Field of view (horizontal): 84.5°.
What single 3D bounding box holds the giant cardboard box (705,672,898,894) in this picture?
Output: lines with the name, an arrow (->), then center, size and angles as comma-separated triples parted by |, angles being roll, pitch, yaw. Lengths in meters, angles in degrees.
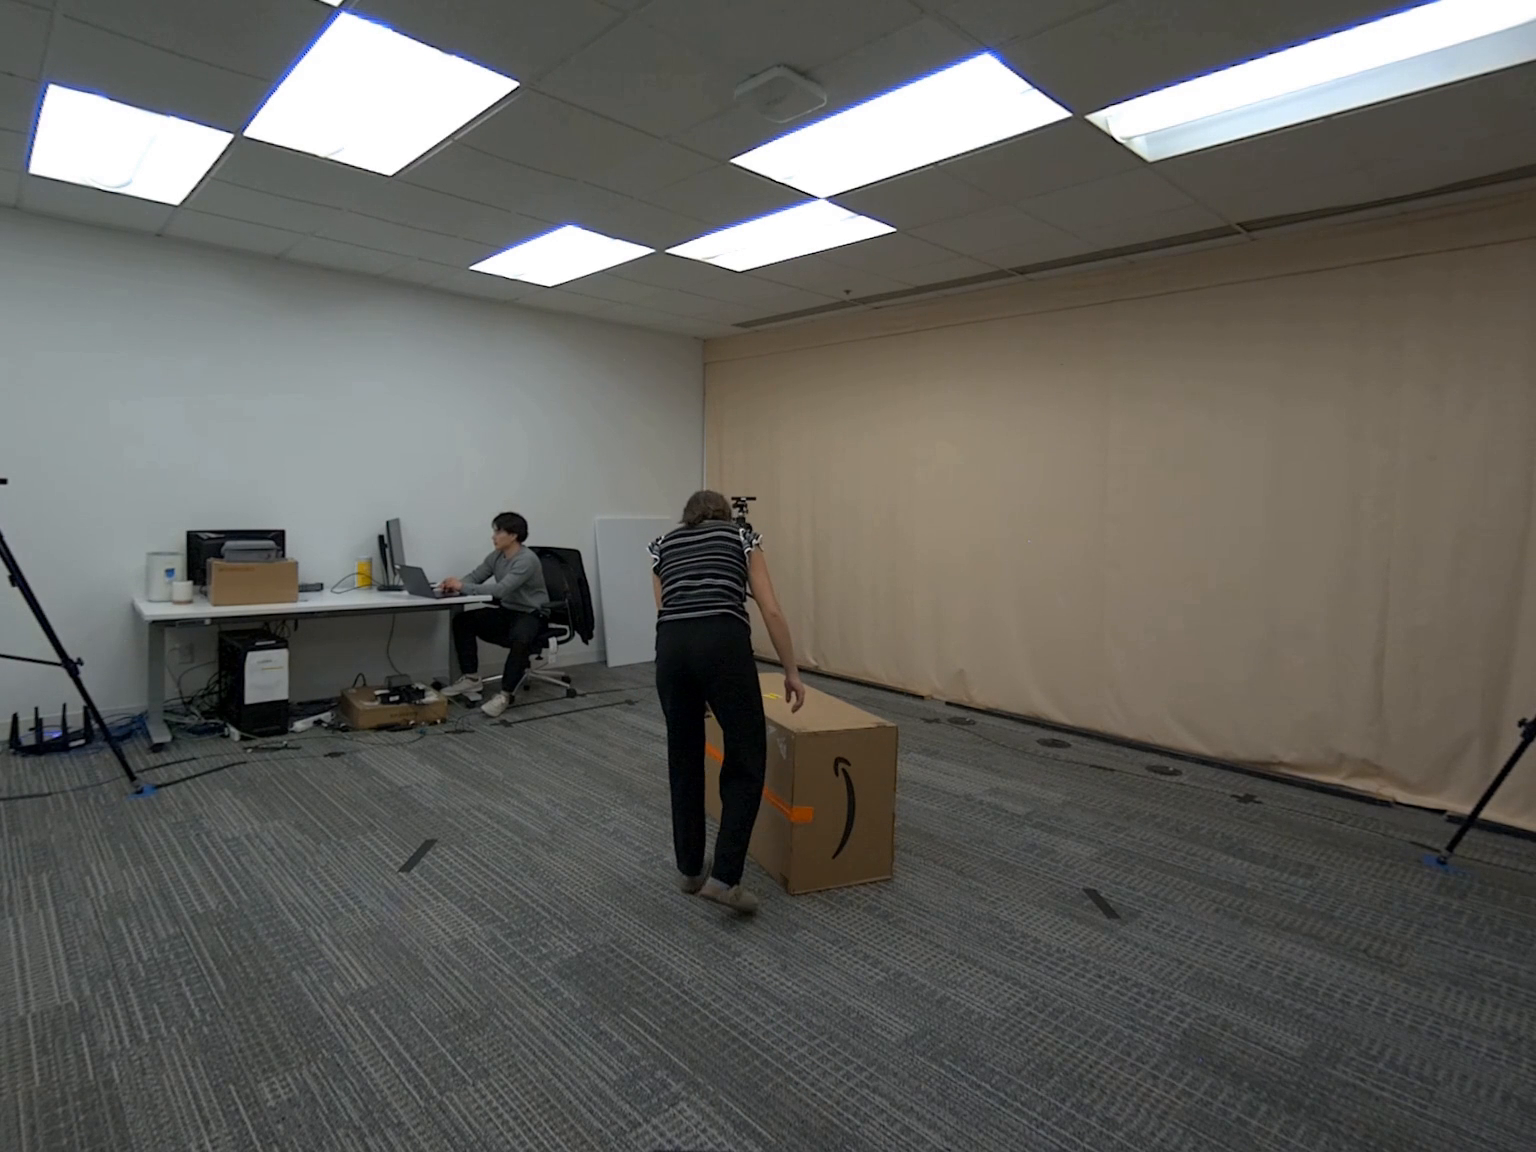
giant cardboard box -> 0.062, 0.790, 3.493 | 0.419, 0.576, 1.046 | 1, 4, -23
